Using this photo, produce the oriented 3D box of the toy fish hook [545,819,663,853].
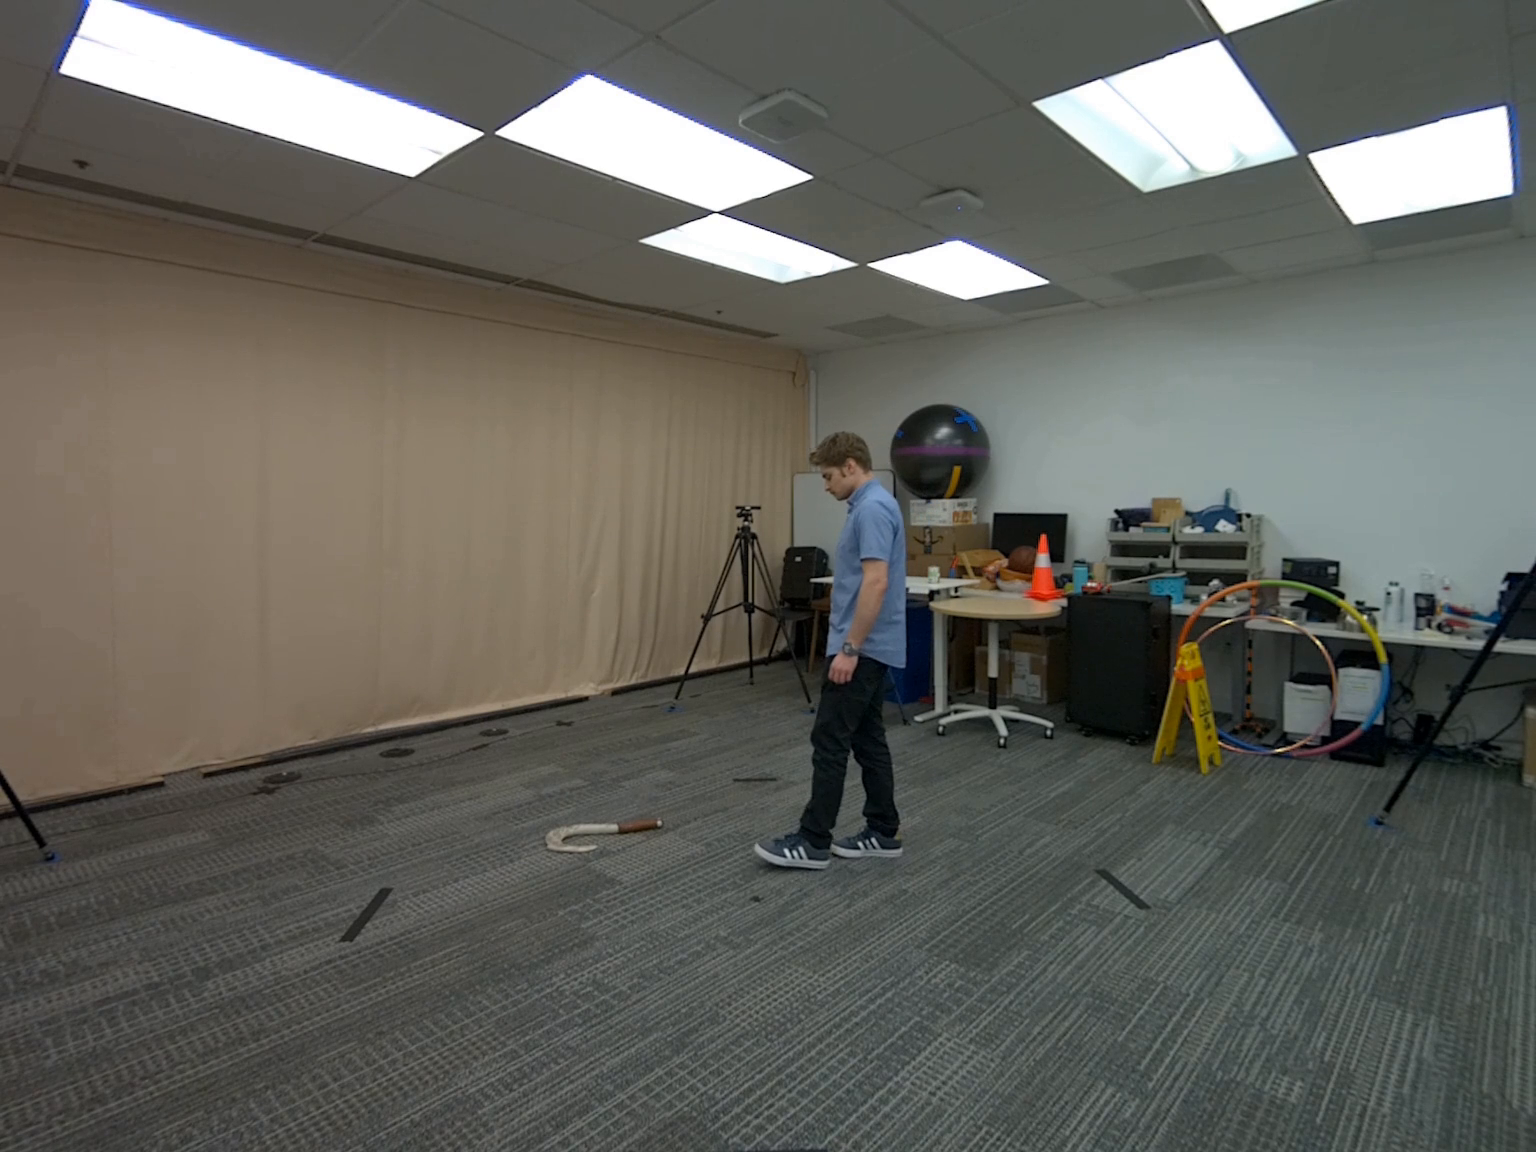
[{"bbox_3d":[-0.678,1.092,3.536,0.498,0.048,0.230,-3,13,-18],"label":"toy fish hook"}]
